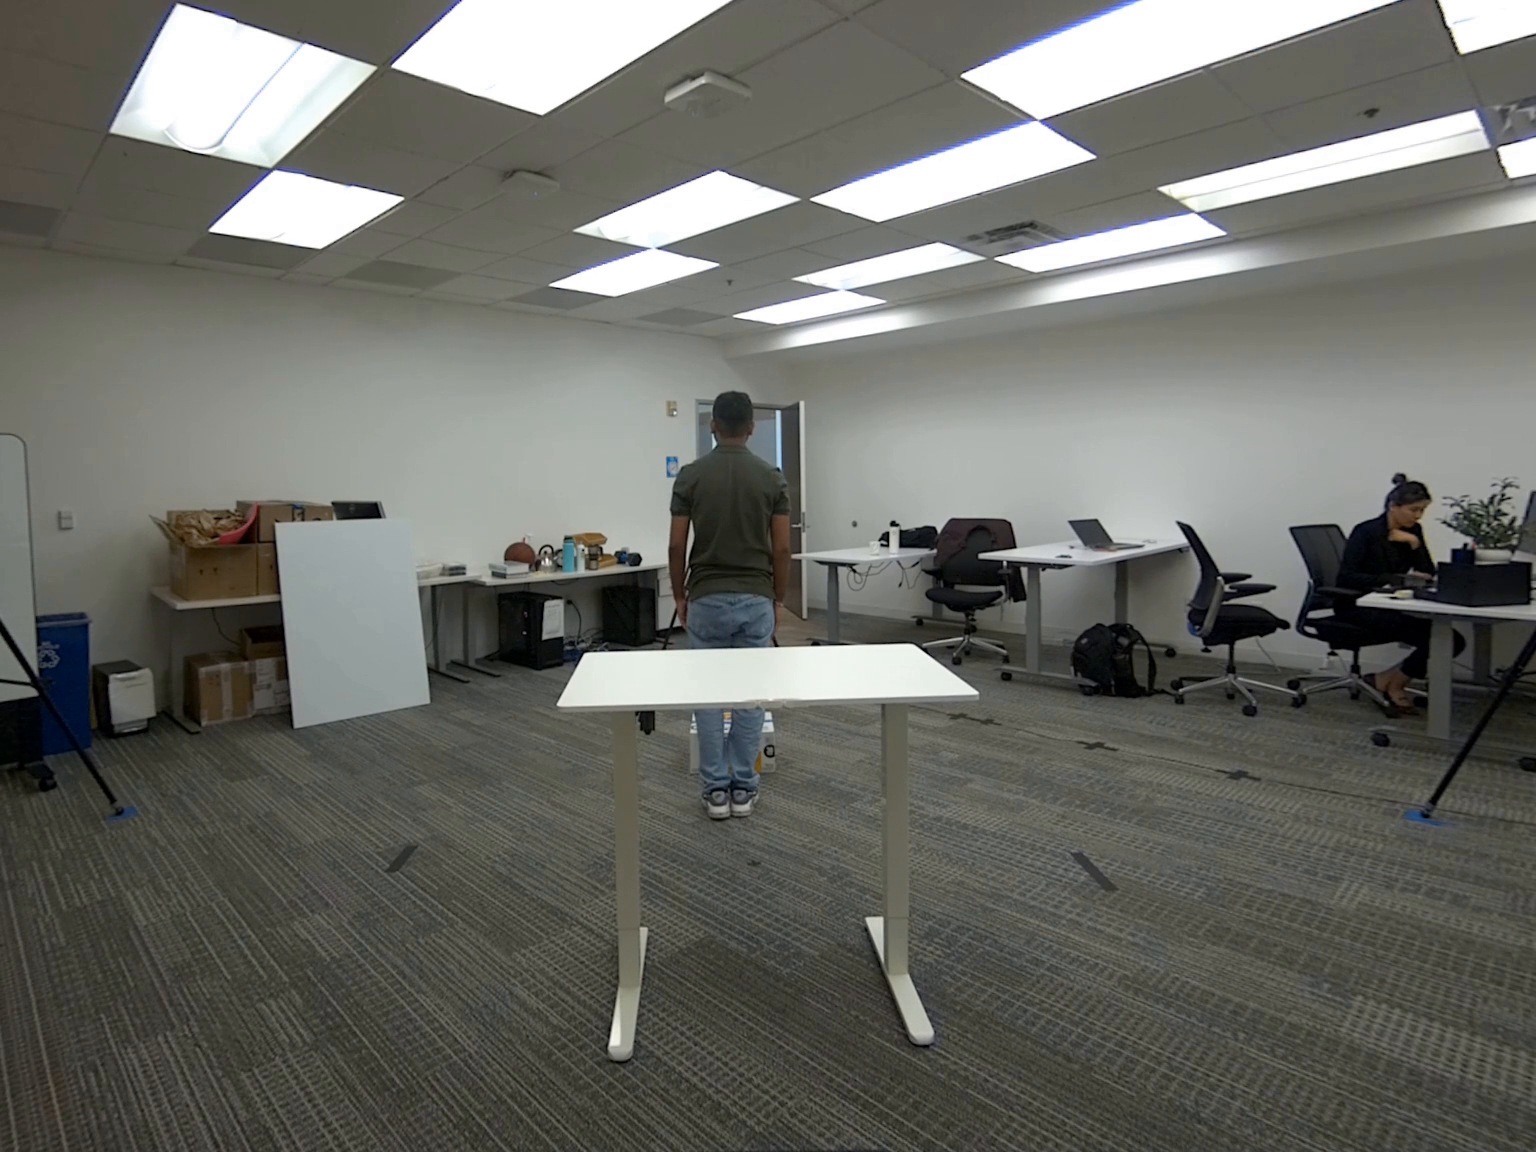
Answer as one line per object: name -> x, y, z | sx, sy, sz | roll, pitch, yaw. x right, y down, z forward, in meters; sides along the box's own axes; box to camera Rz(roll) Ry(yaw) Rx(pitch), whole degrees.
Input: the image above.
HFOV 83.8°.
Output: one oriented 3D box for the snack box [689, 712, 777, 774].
snack box -> -0.174, 0.822, 4.231 | 0.405, 0.205, 0.342 | -1, 6, -1
